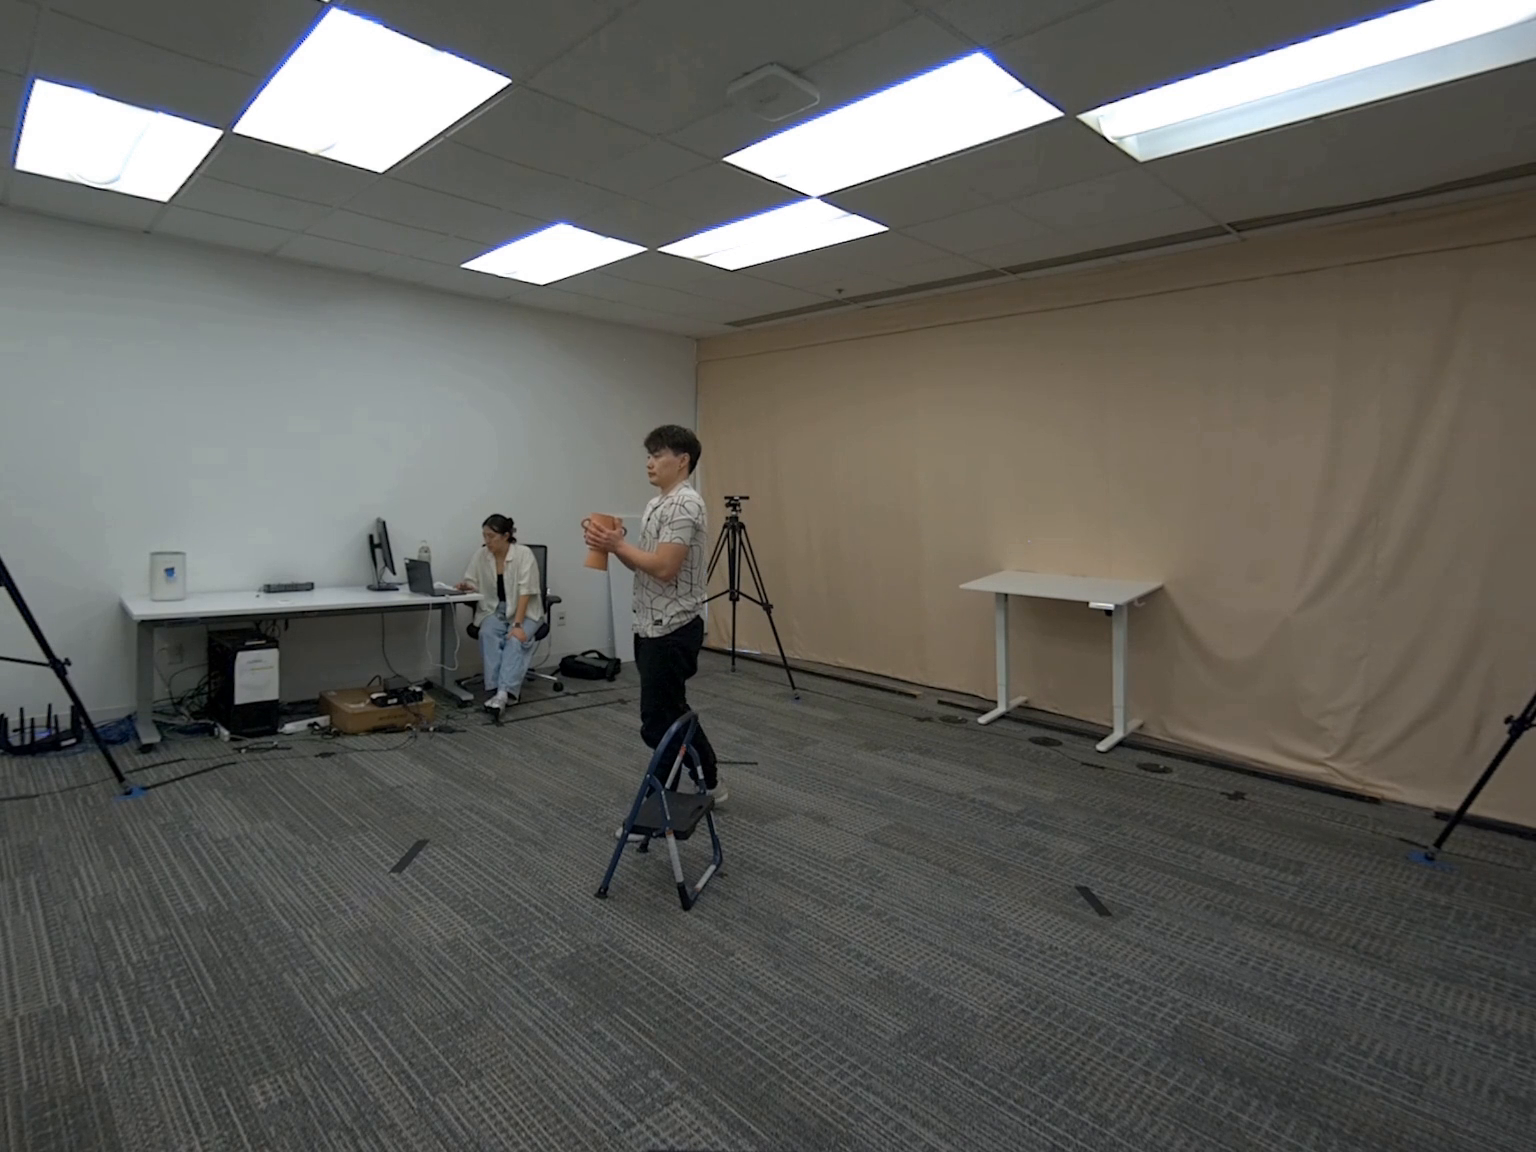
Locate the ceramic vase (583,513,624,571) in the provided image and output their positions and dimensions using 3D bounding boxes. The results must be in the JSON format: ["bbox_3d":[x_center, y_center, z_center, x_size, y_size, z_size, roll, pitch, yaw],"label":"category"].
[{"bbox_3d":[-0.681,-0.137,3.432,0.161,0.220,0.133,11,-3,13],"label":"ceramic vase"}]
